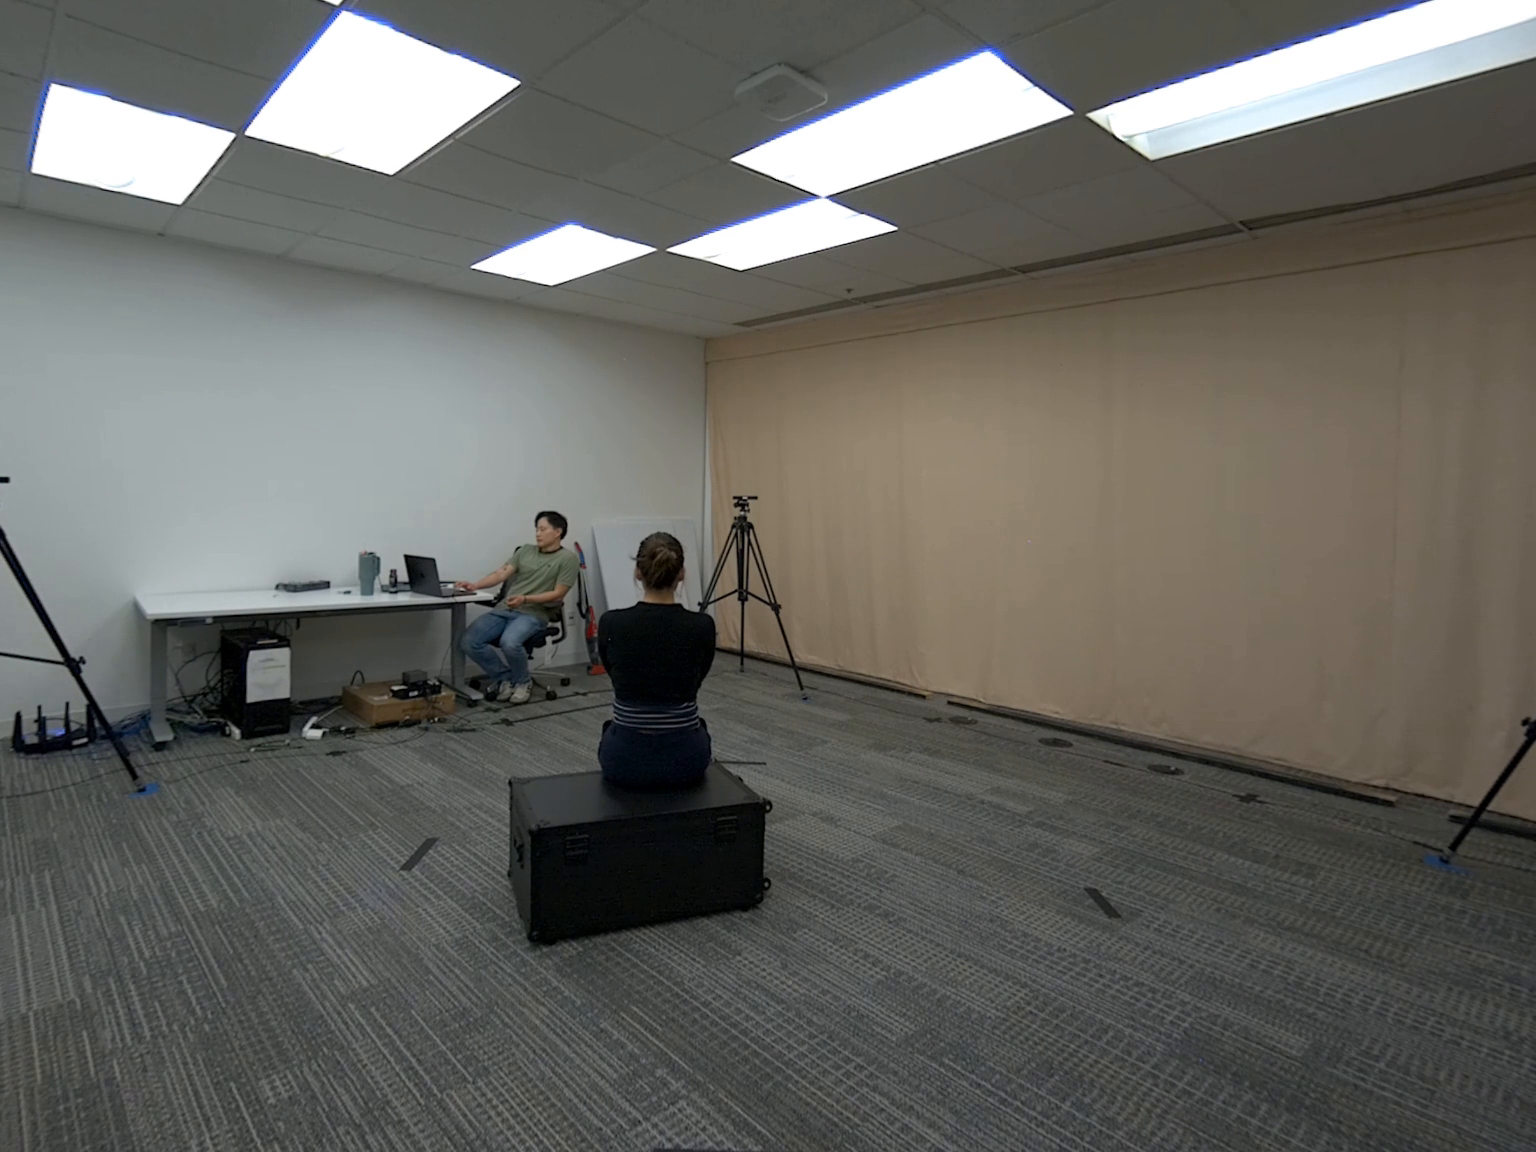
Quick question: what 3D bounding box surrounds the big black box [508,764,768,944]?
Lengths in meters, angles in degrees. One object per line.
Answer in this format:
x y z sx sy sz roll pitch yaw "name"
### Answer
-0.497 0.923 2.899 0.847 0.395 0.532 0 5 -24 "big black box"
